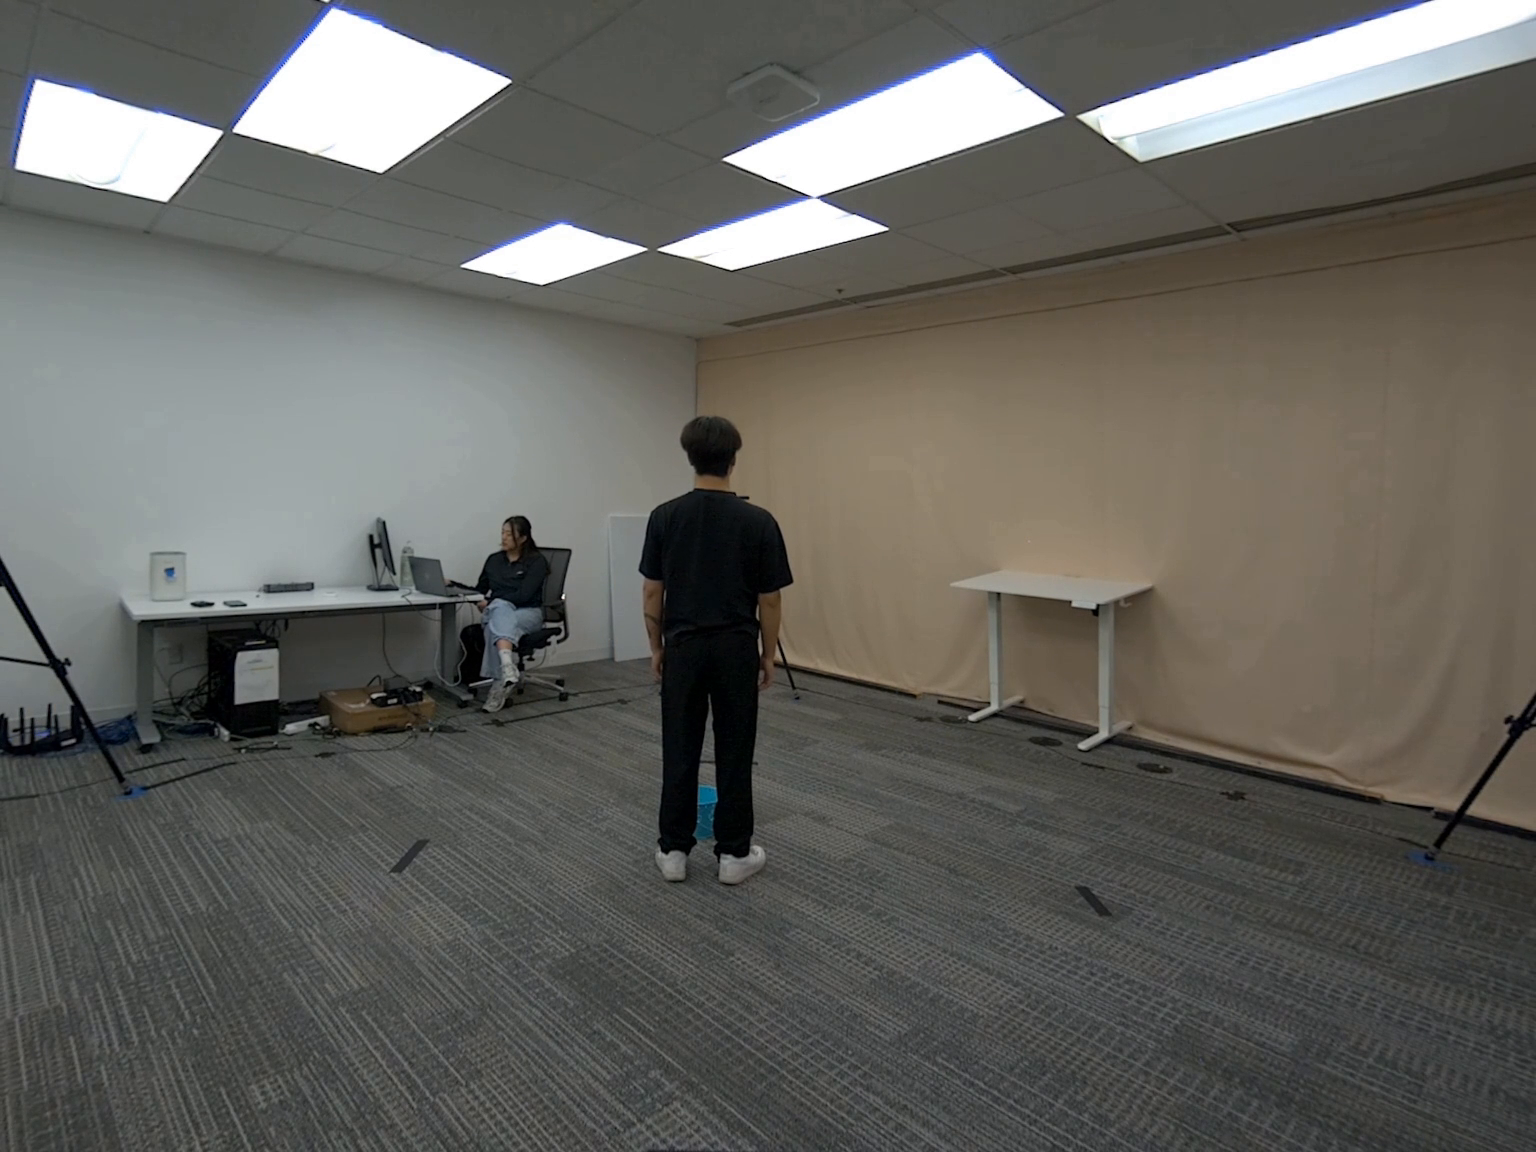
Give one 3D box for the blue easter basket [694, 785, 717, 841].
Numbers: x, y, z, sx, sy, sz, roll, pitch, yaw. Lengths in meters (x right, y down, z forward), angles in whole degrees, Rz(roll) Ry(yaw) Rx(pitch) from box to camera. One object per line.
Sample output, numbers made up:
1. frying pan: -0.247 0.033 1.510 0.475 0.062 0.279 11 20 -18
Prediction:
1. blue easter basket: -0.312 0.986 3.514 0.243 0.155 0.244 2 4 -1
